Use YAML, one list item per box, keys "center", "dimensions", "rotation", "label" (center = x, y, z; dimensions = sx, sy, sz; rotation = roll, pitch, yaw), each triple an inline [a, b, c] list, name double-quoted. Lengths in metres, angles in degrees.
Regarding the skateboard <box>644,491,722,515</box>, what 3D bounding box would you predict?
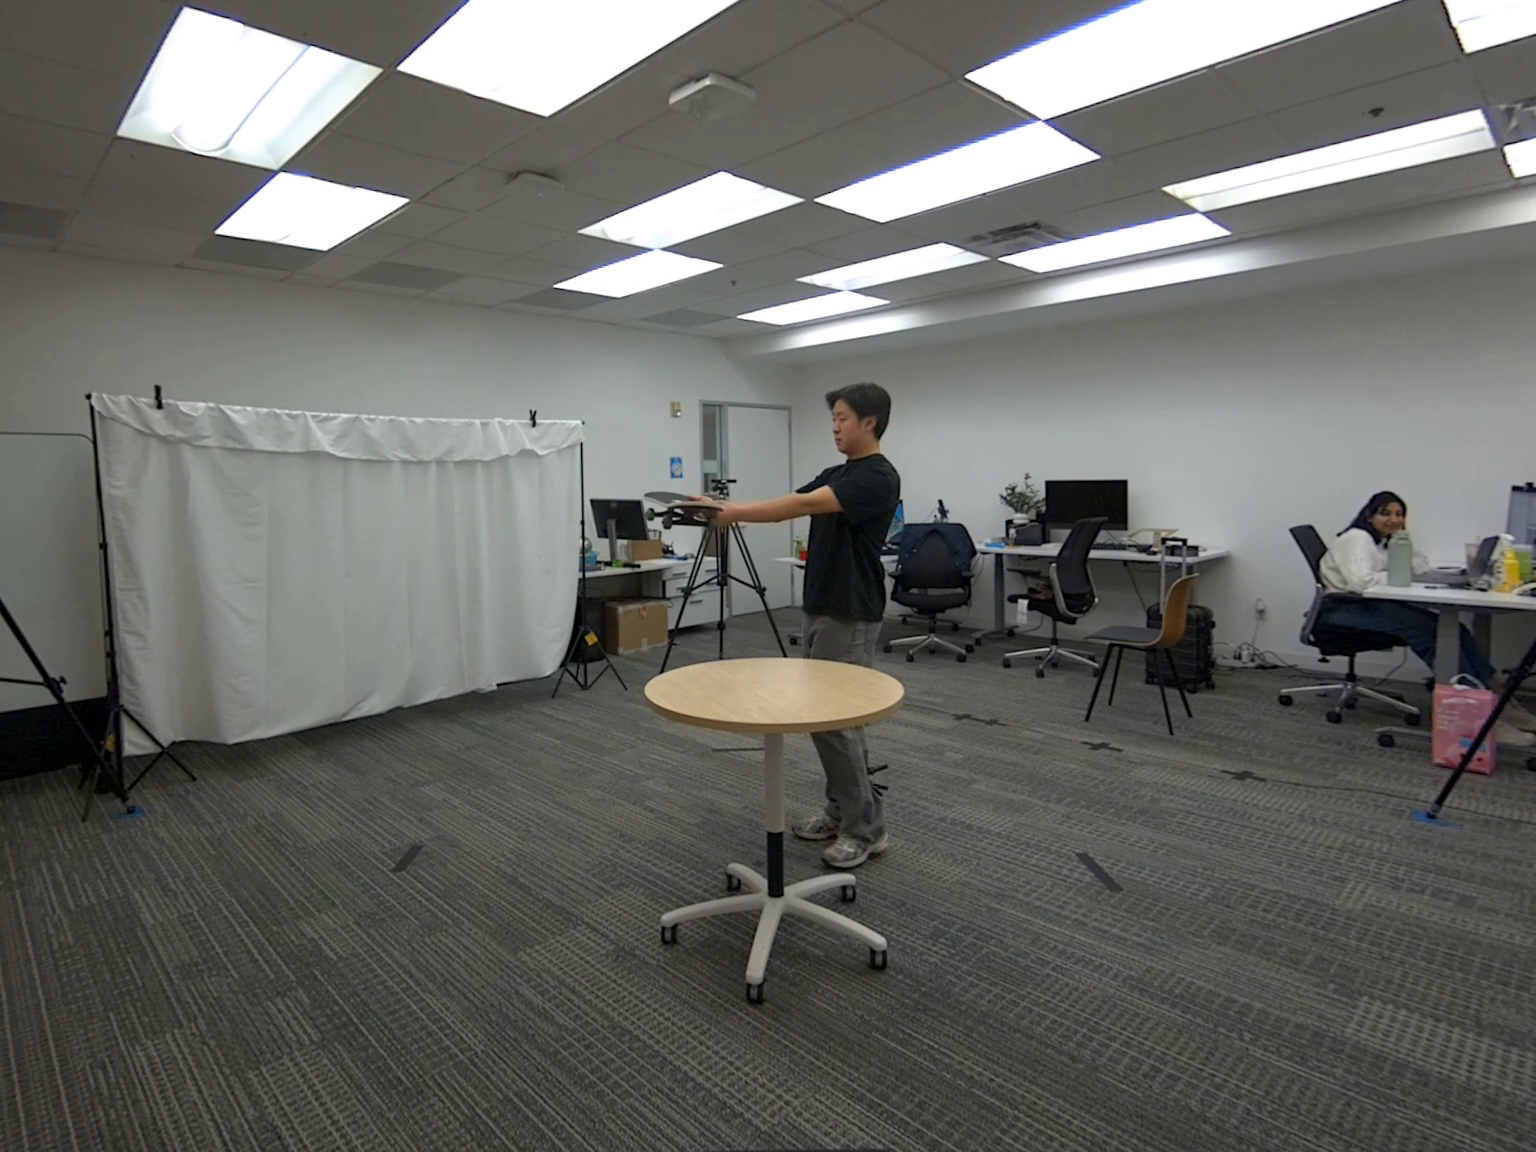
- center: [-0.319, -0.240, 3.137]
  dimensions: [0.190, 0.110, 0.802]
  rotation: [1, 7, -18]
  label: "skateboard"
